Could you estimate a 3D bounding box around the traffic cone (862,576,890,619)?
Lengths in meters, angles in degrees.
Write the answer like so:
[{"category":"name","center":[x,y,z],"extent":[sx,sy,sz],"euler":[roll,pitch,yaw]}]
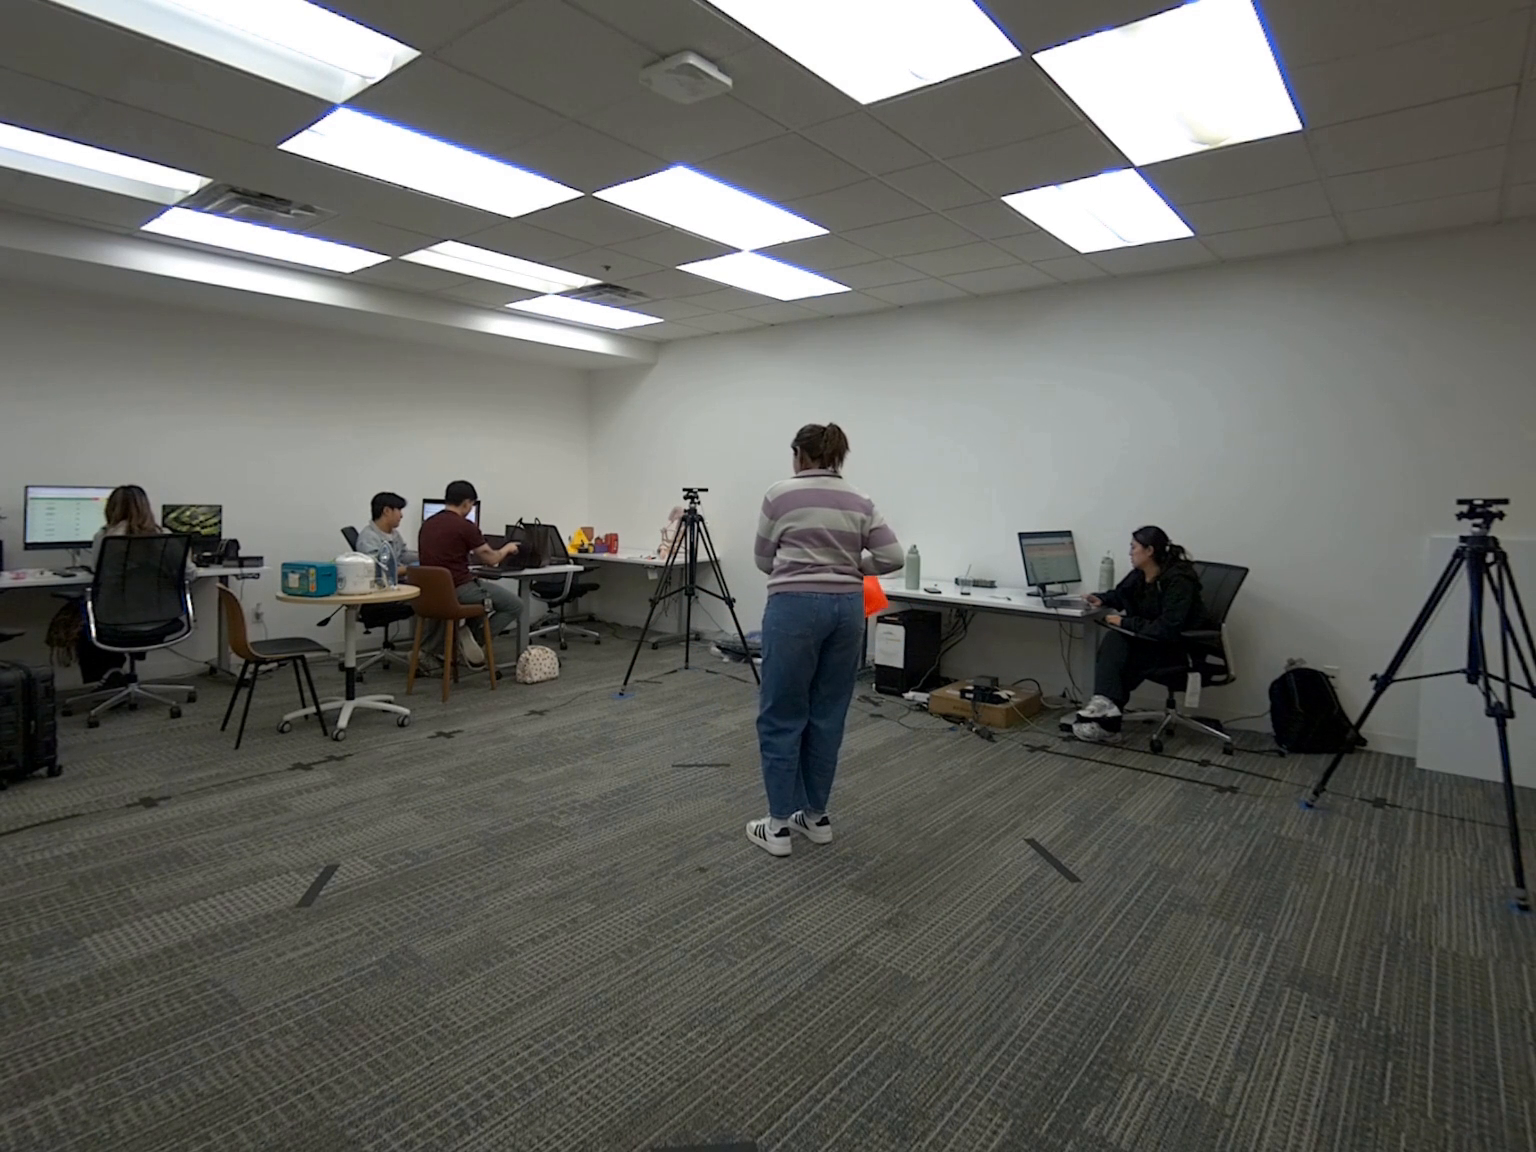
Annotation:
[{"category":"traffic cone","center":[0.340,0.036,3.742],"extent":[0.207,0.209,0.369],"euler":[-20,-27,20]}]
